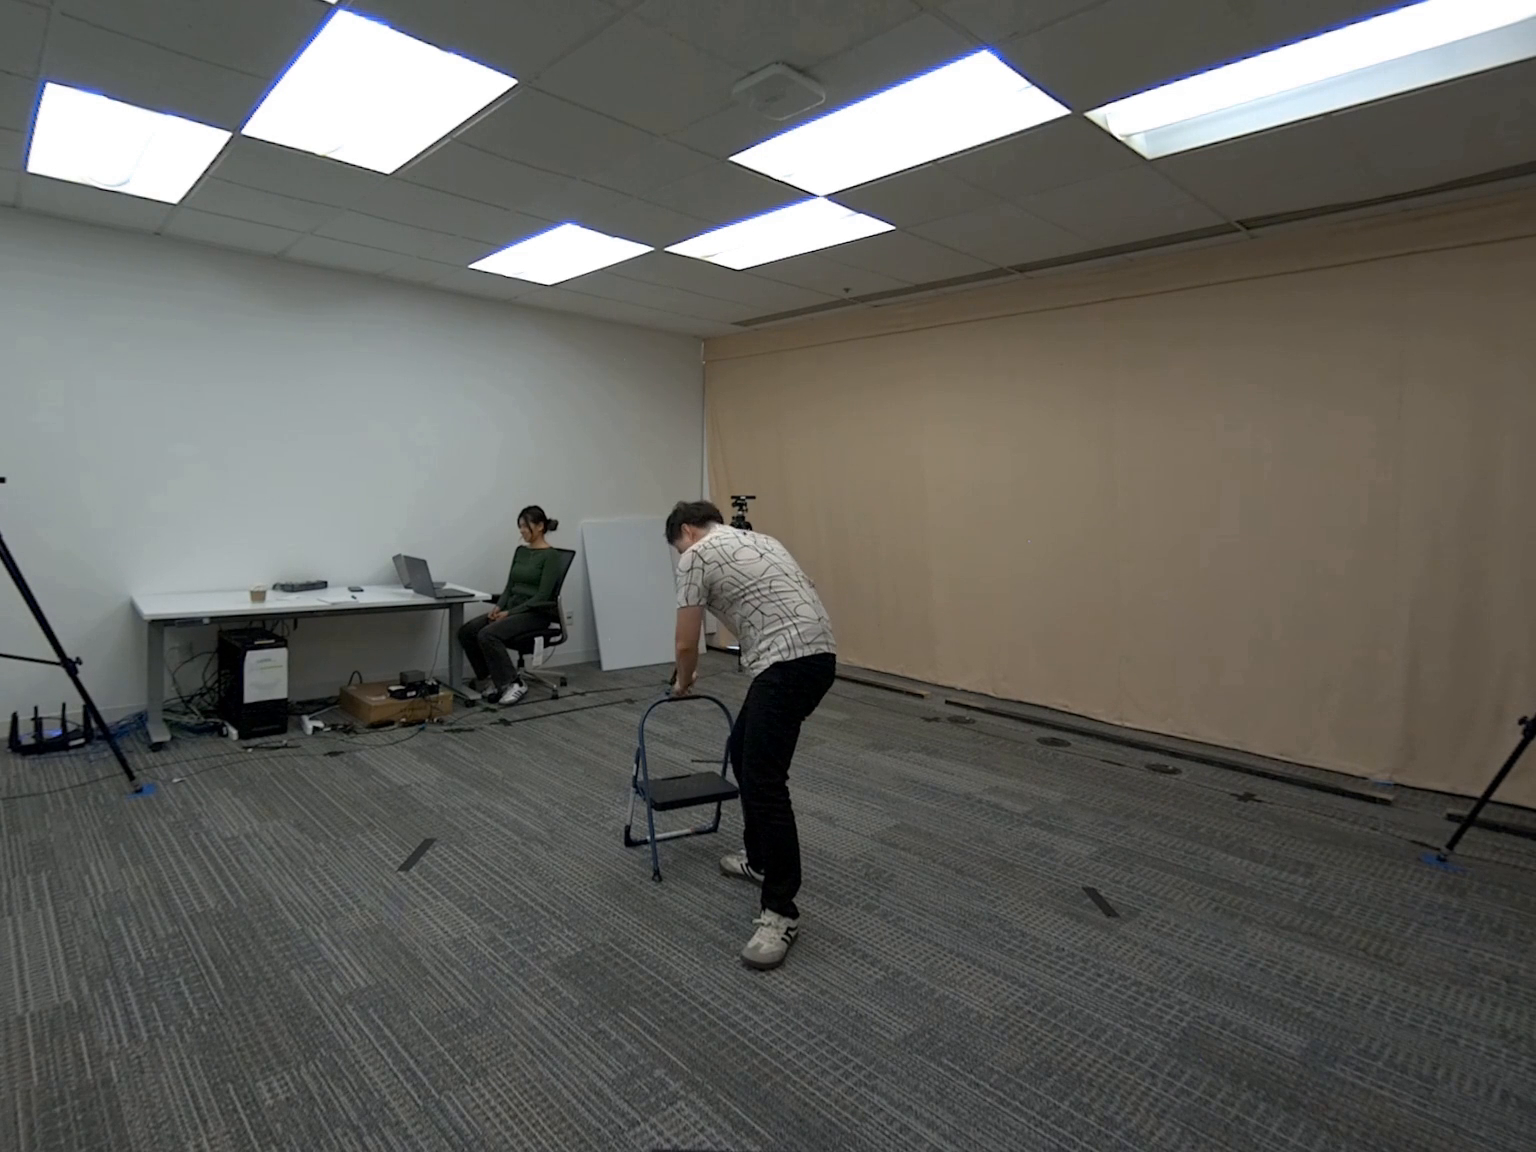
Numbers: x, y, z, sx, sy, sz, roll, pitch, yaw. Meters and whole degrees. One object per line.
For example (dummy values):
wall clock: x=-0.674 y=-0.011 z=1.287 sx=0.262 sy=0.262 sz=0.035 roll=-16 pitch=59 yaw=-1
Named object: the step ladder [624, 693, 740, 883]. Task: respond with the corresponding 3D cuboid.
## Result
step ladder: x=-0.307 y=0.777 z=3.268 sx=0.422 sy=0.605 sz=0.357 roll=-1 pitch=4 yaw=-29
